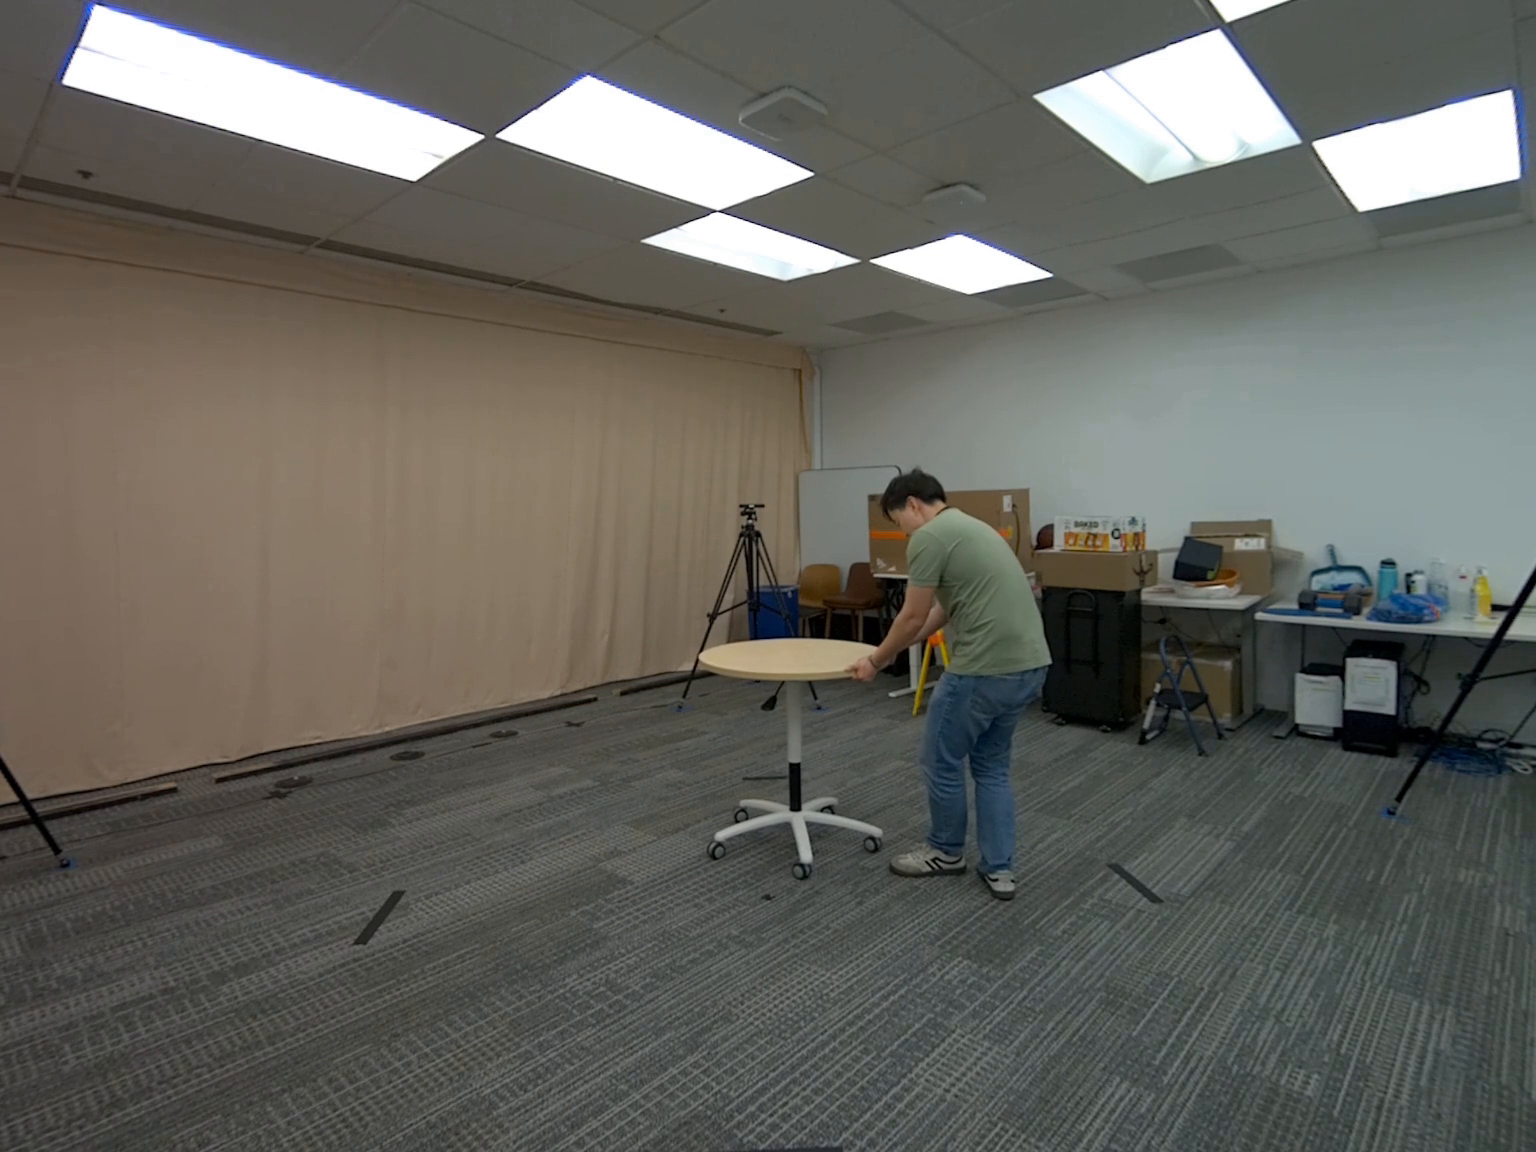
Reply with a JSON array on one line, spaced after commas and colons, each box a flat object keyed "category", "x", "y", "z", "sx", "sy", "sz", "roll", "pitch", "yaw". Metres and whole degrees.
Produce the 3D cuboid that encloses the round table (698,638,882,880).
[{"category": "round table", "x": 0.109, "y": 0.710, "z": 3.433, "sx": 0.763, "sy": 0.792, "sz": 0.766, "roll": -1, "pitch": 4, "yaw": -2}]
